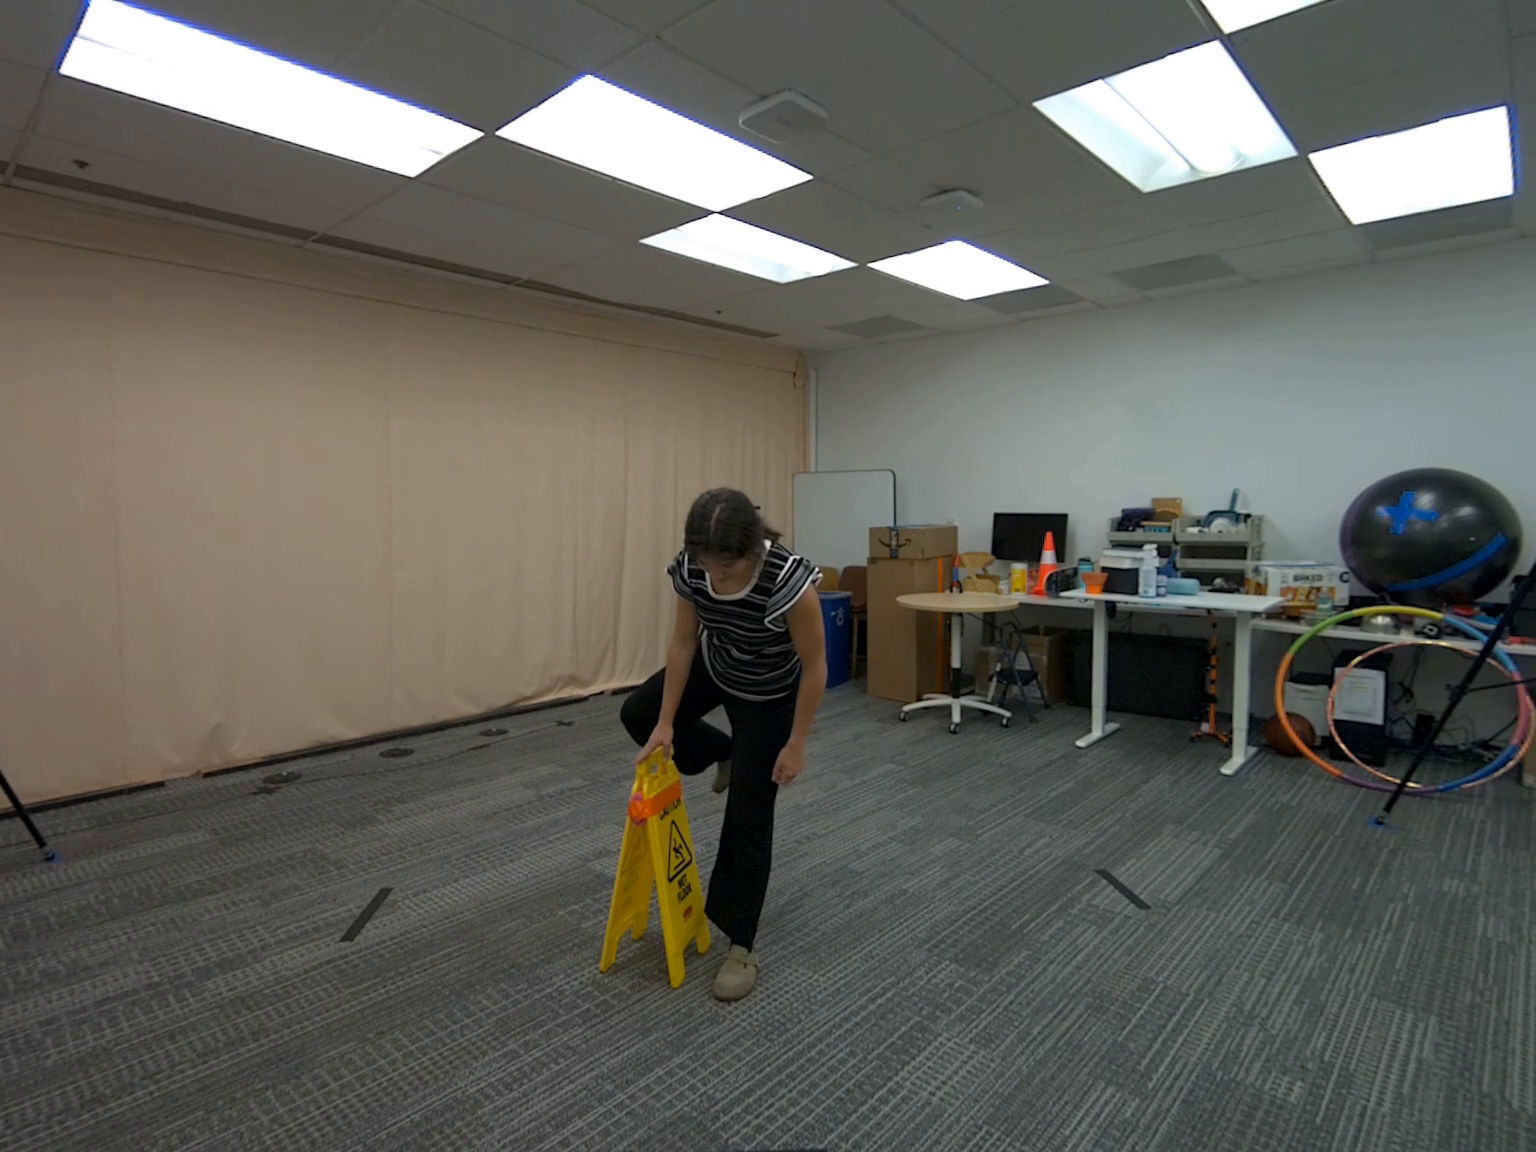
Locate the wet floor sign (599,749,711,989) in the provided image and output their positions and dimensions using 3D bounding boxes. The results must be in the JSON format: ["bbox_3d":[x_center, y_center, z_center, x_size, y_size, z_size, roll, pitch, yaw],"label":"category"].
[{"bbox_3d":[-0.344,0.859,2.574,0.296,0.645,0.277,-1,2,20],"label":"wet floor sign"}]
